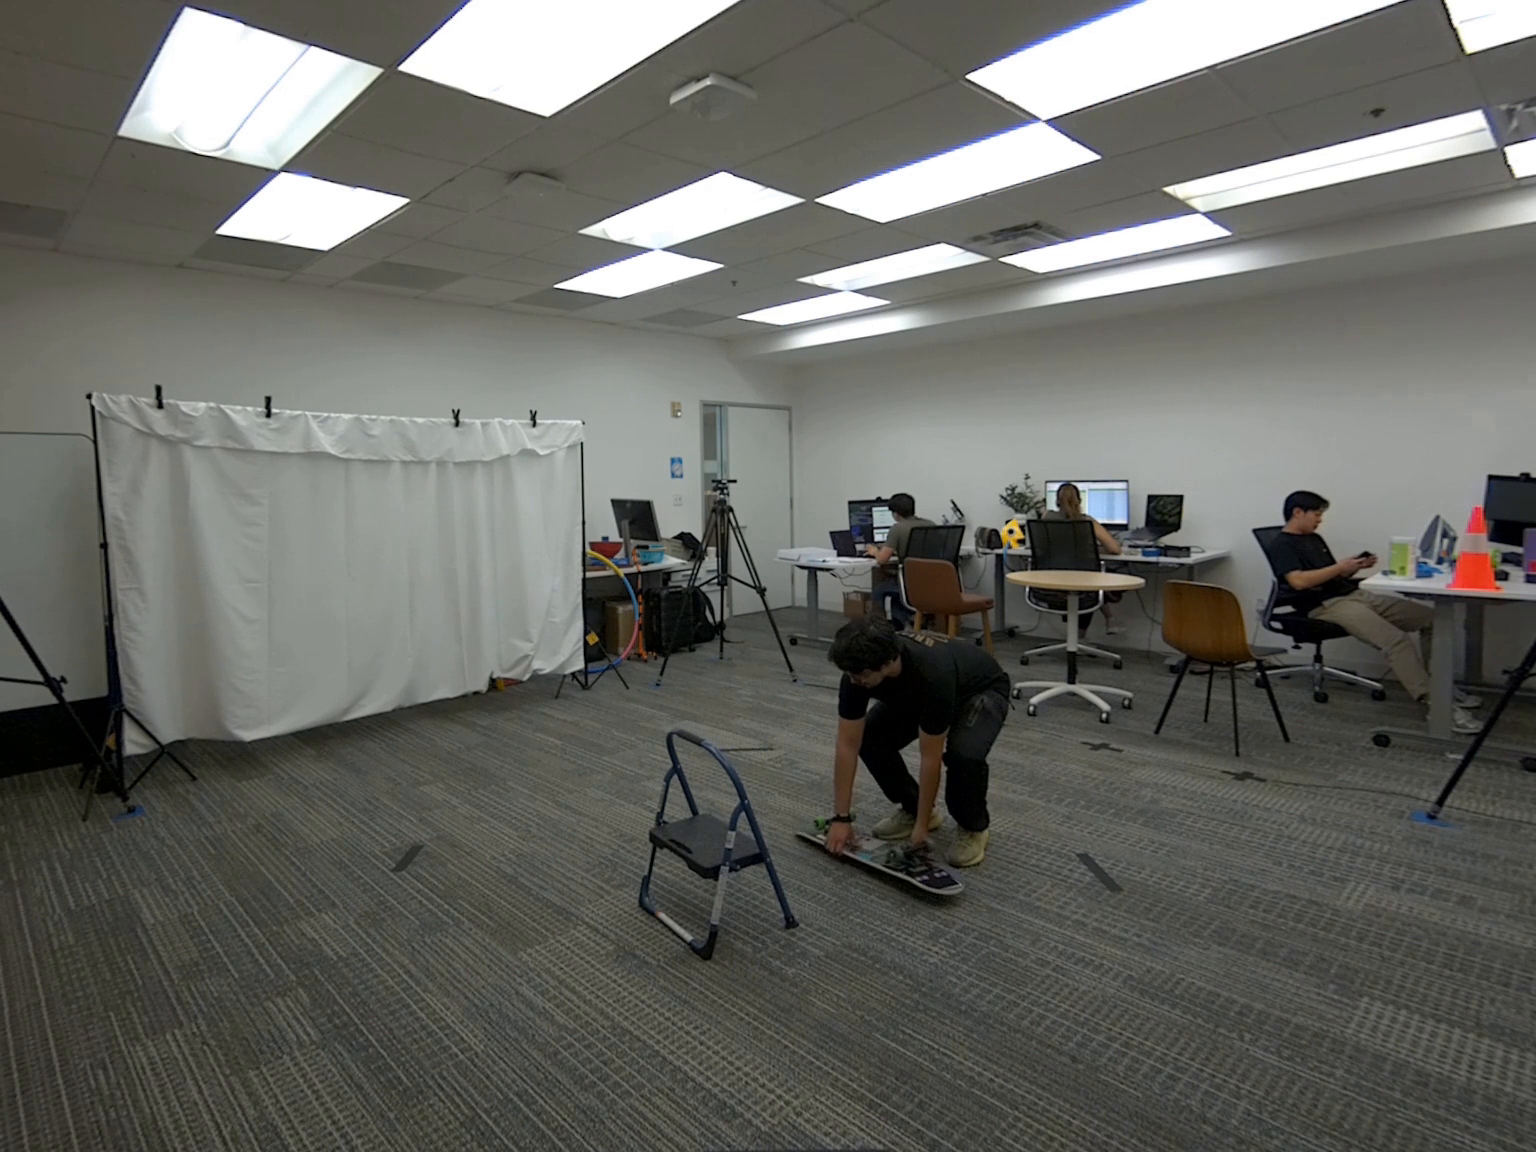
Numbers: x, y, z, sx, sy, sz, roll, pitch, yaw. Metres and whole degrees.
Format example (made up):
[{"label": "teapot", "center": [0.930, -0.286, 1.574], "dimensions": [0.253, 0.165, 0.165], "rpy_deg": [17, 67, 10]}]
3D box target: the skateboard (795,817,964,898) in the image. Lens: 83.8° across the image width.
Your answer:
[{"label": "skateboard", "center": [0.377, 0.963, 3.087], "dimensions": [0.188, 0.110, 0.807], "rpy_deg": [-1, 2, -36]}]
